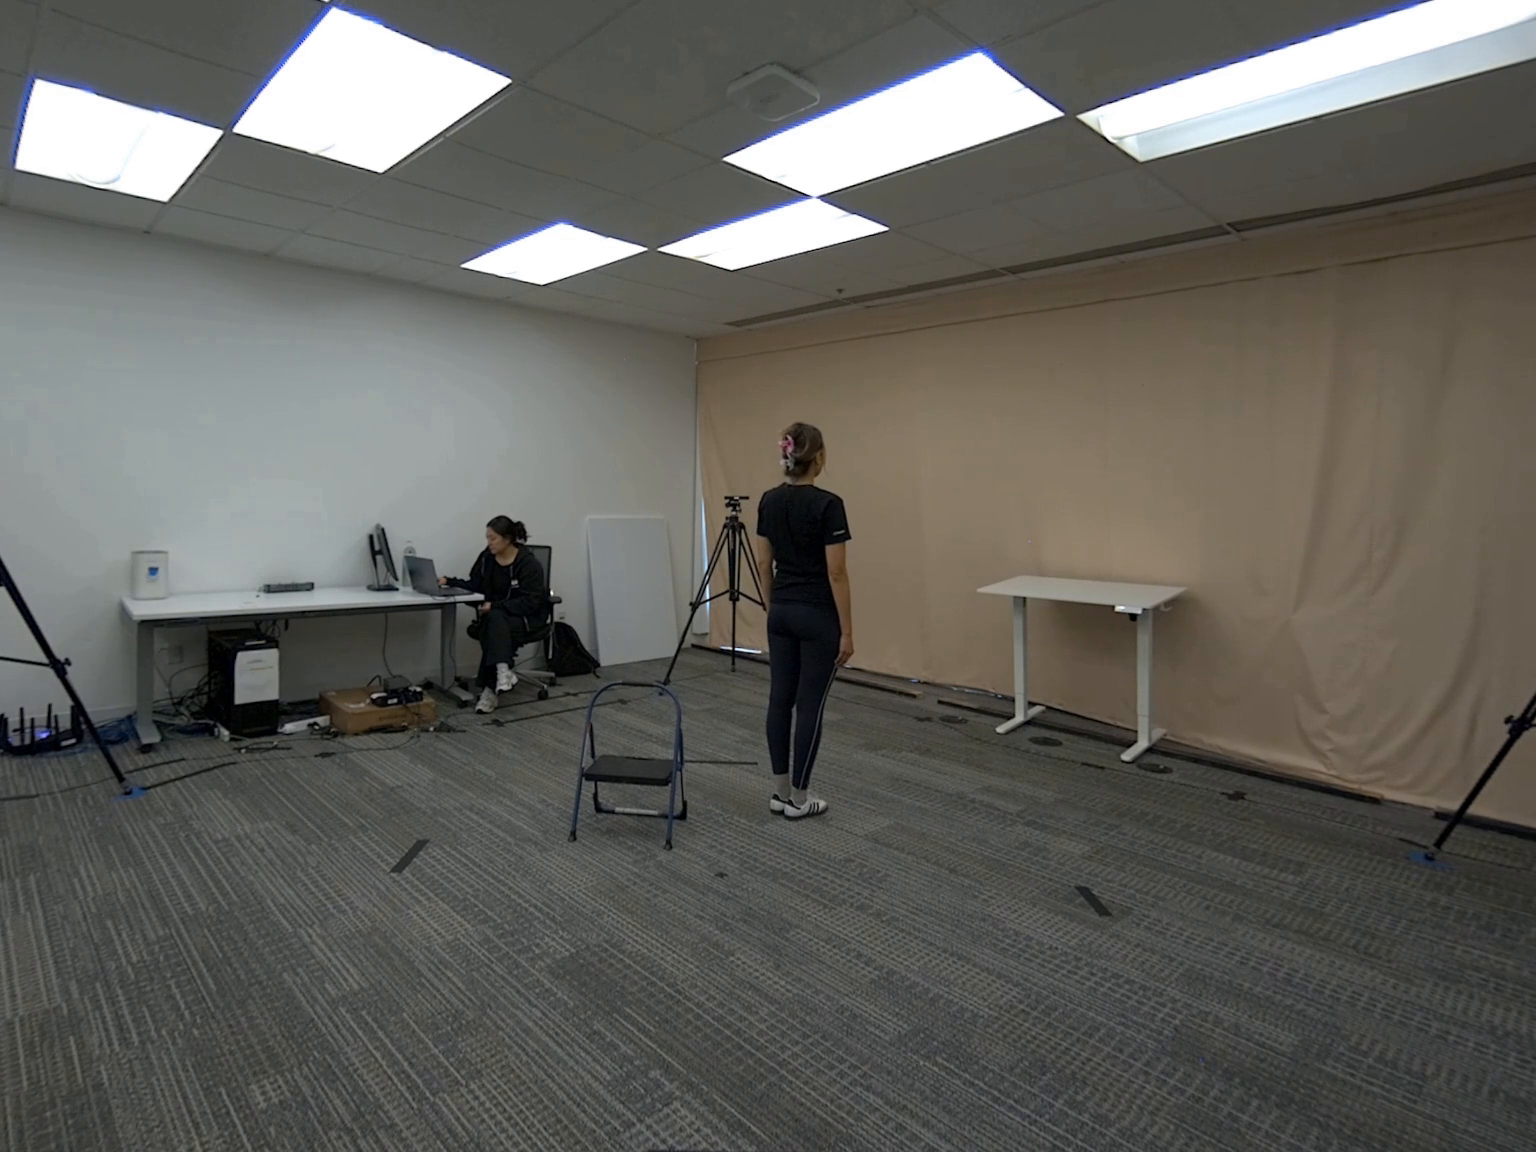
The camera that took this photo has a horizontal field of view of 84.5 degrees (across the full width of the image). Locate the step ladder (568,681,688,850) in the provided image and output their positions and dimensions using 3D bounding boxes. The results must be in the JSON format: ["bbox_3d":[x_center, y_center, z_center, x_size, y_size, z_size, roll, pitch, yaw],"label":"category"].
[{"bbox_3d":[-0.572,0.758,3.497,0.433,0.604,0.348,2,4,7],"label":"step ladder"}]
